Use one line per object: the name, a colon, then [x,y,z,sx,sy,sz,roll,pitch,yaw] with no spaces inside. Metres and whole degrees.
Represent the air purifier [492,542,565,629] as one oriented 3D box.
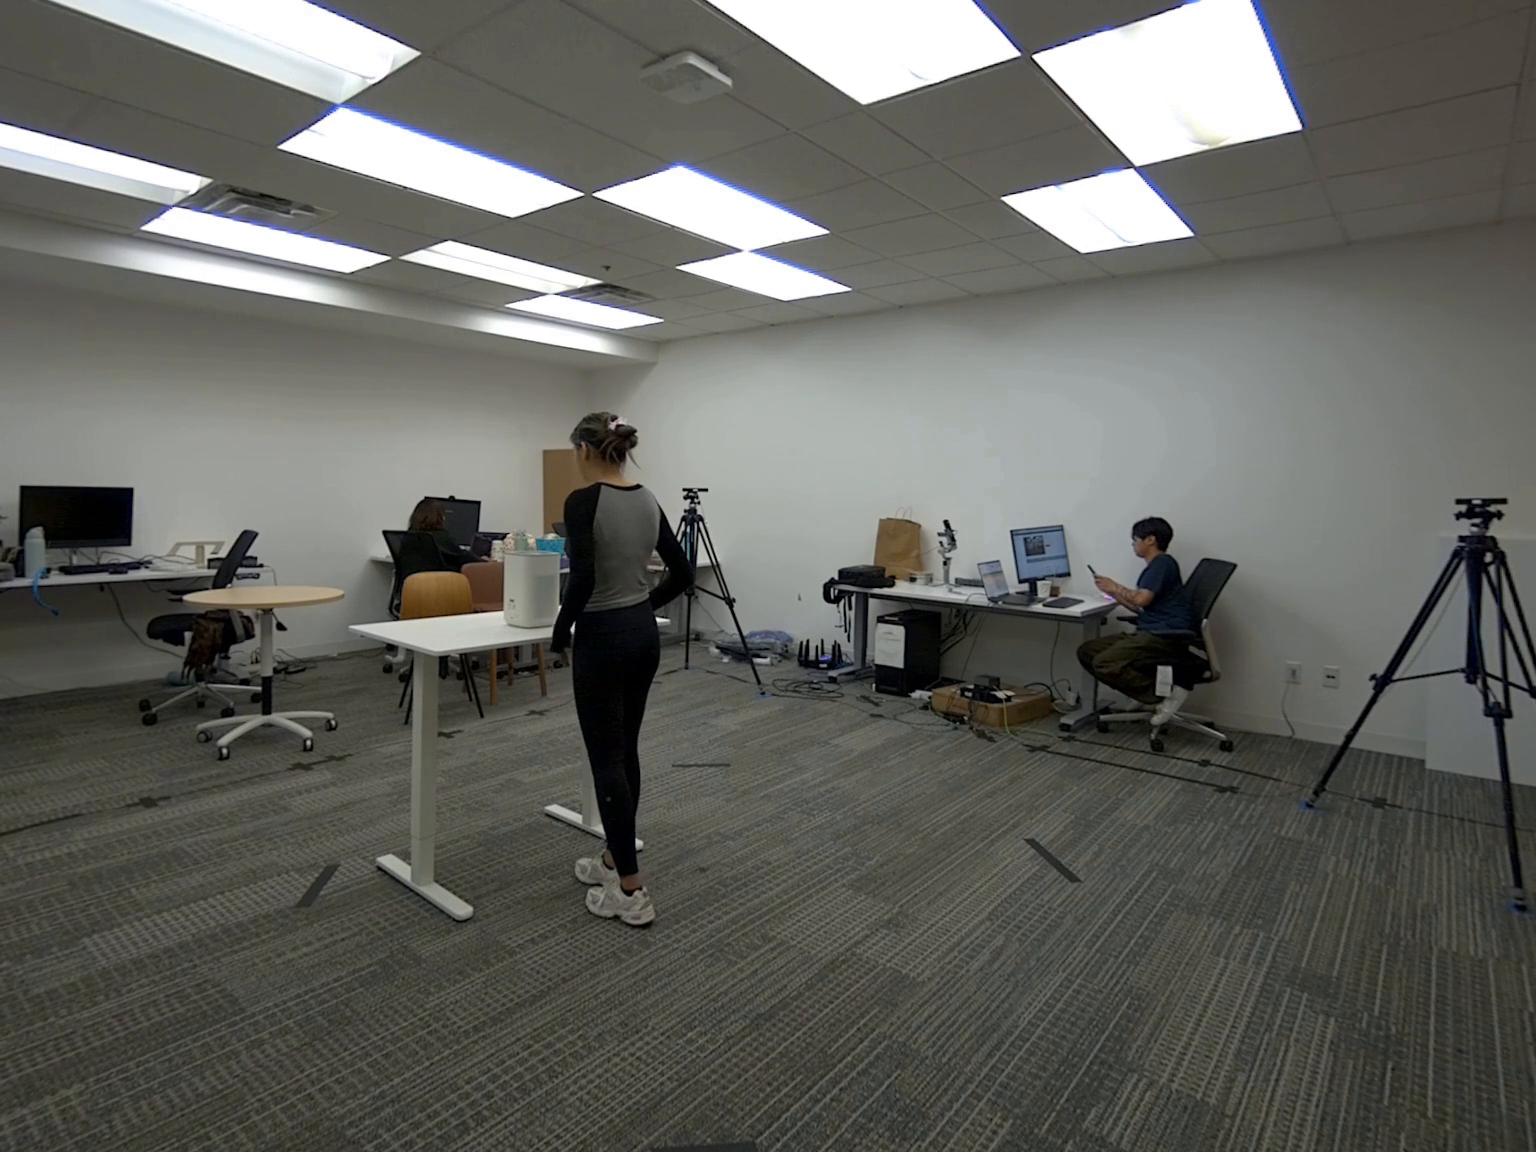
air purifier: [-0.878,0.046,3.108,0.177,0.265,0.166,4,4,40]
